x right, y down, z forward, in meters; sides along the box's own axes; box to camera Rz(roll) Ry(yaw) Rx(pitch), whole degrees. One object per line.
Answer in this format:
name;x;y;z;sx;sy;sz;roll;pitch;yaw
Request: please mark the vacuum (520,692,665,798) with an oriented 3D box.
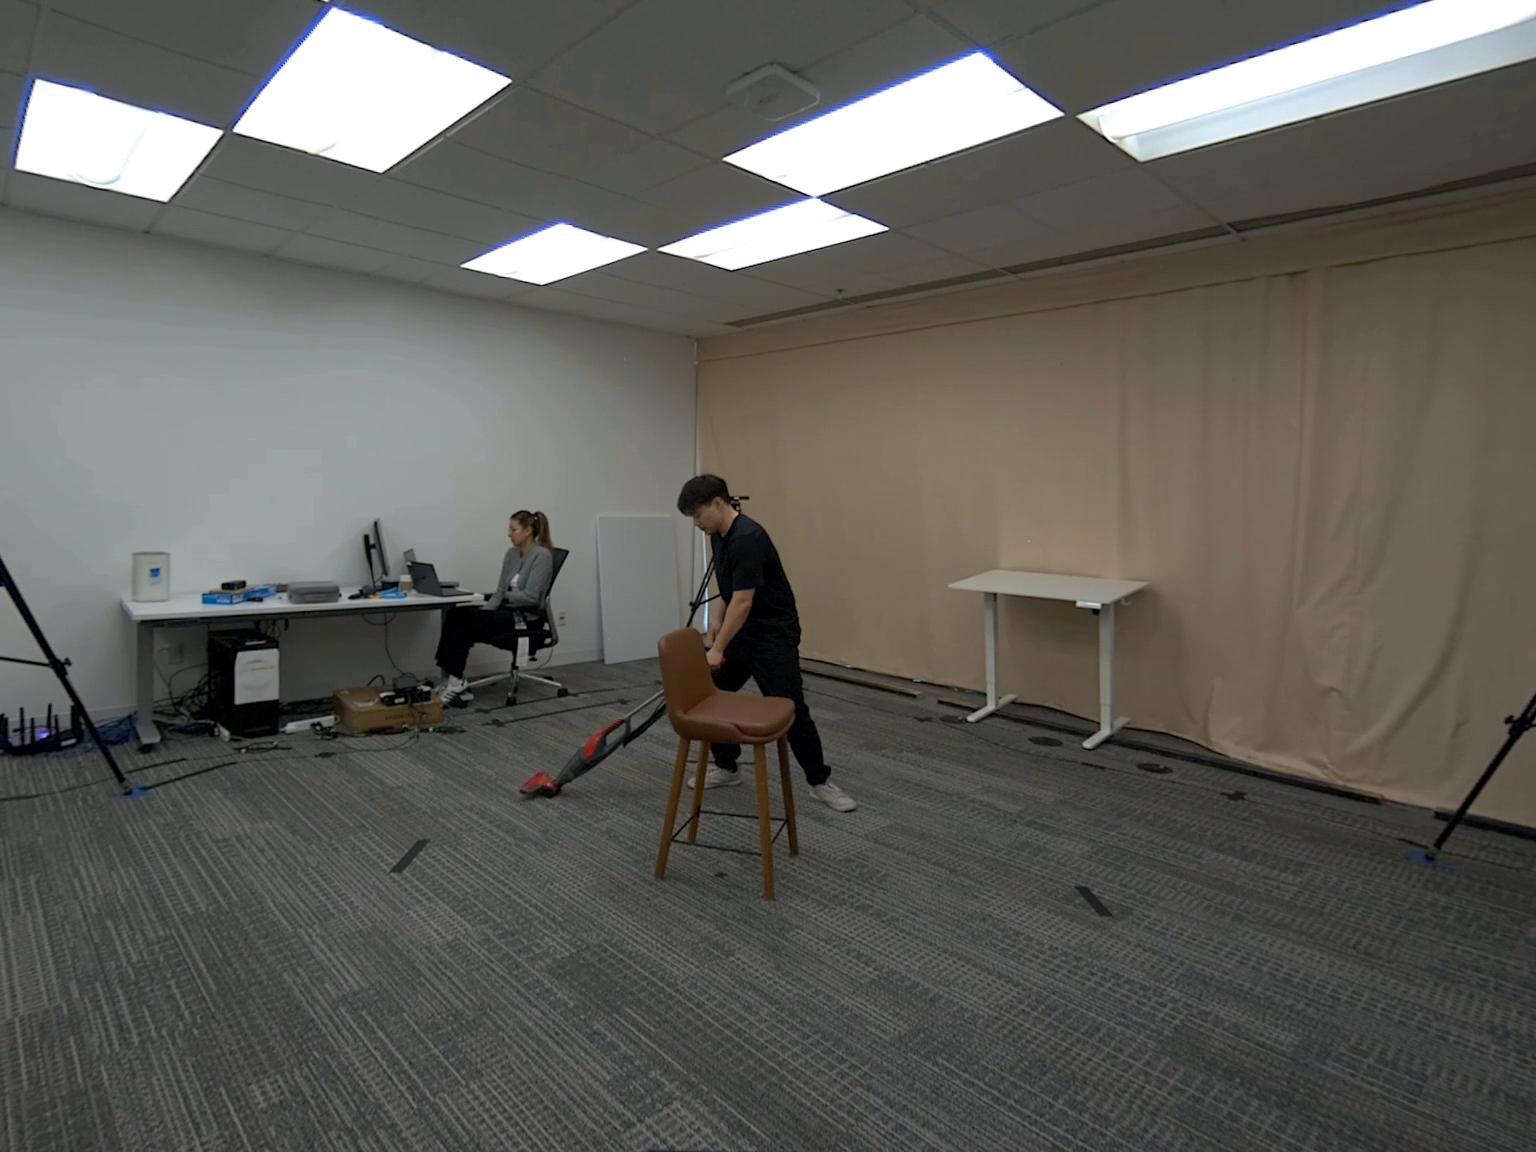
vacuum;-0.622;0.686;3.830;1.051;0.144;0.252;-36;0;10
